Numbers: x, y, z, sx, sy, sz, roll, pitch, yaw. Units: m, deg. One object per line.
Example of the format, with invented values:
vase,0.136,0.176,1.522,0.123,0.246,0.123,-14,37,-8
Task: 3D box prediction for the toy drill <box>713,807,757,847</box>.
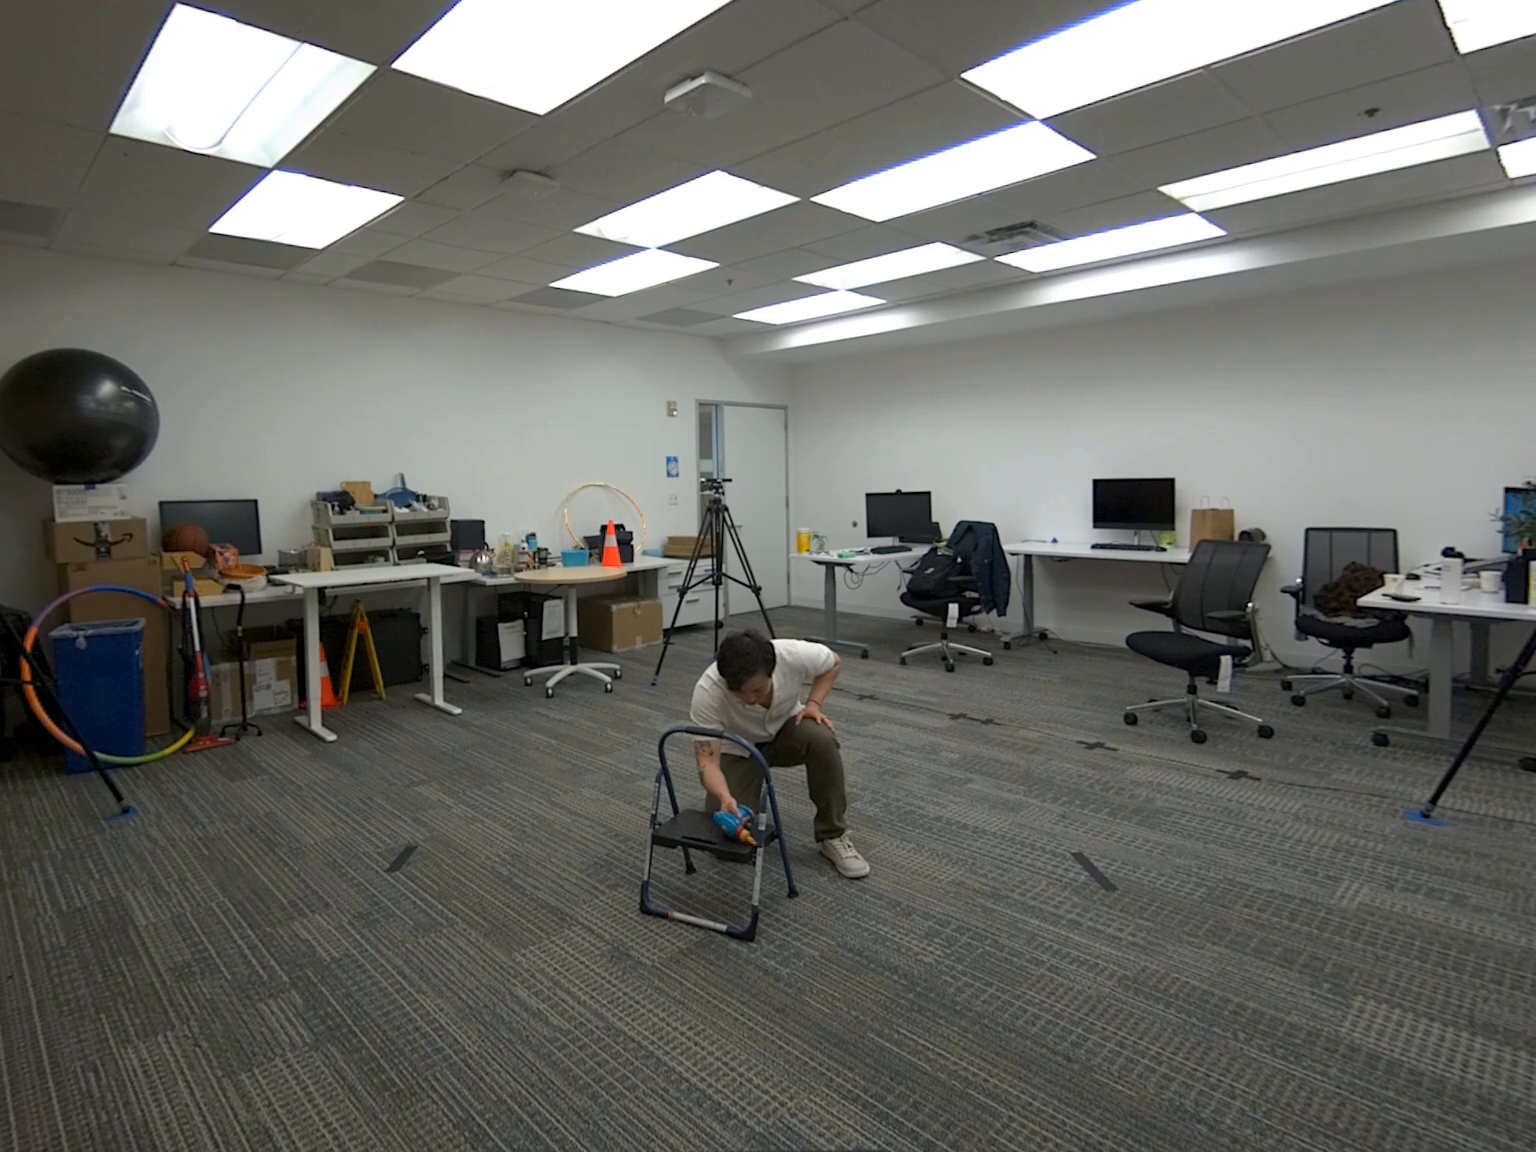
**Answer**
toy drill,-0.064,0.801,2.714,0.176,0.060,0.142,25,18,40
